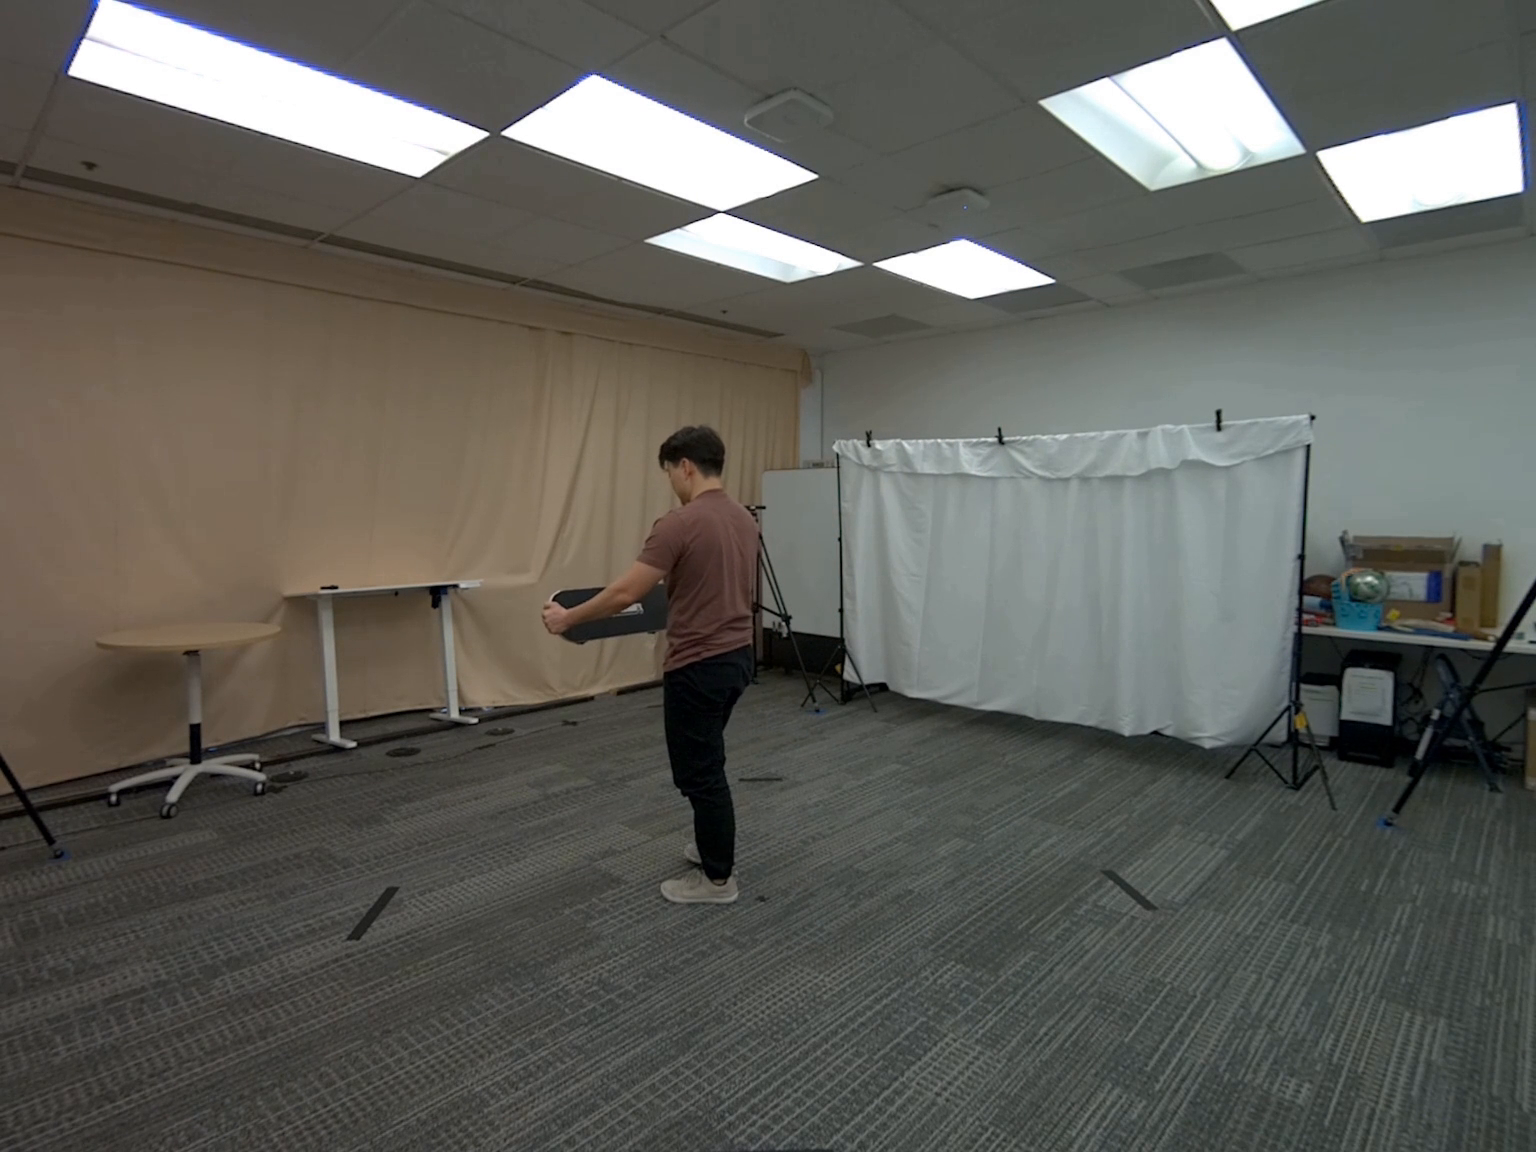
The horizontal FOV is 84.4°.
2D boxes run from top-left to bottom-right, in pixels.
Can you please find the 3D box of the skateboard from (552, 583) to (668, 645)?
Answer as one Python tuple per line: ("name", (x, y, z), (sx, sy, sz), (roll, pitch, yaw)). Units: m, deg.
("skateboard", (-0.565, 0.142, 3.195), (0.112, 0.195, 0.762), (-23, -11, 34))
